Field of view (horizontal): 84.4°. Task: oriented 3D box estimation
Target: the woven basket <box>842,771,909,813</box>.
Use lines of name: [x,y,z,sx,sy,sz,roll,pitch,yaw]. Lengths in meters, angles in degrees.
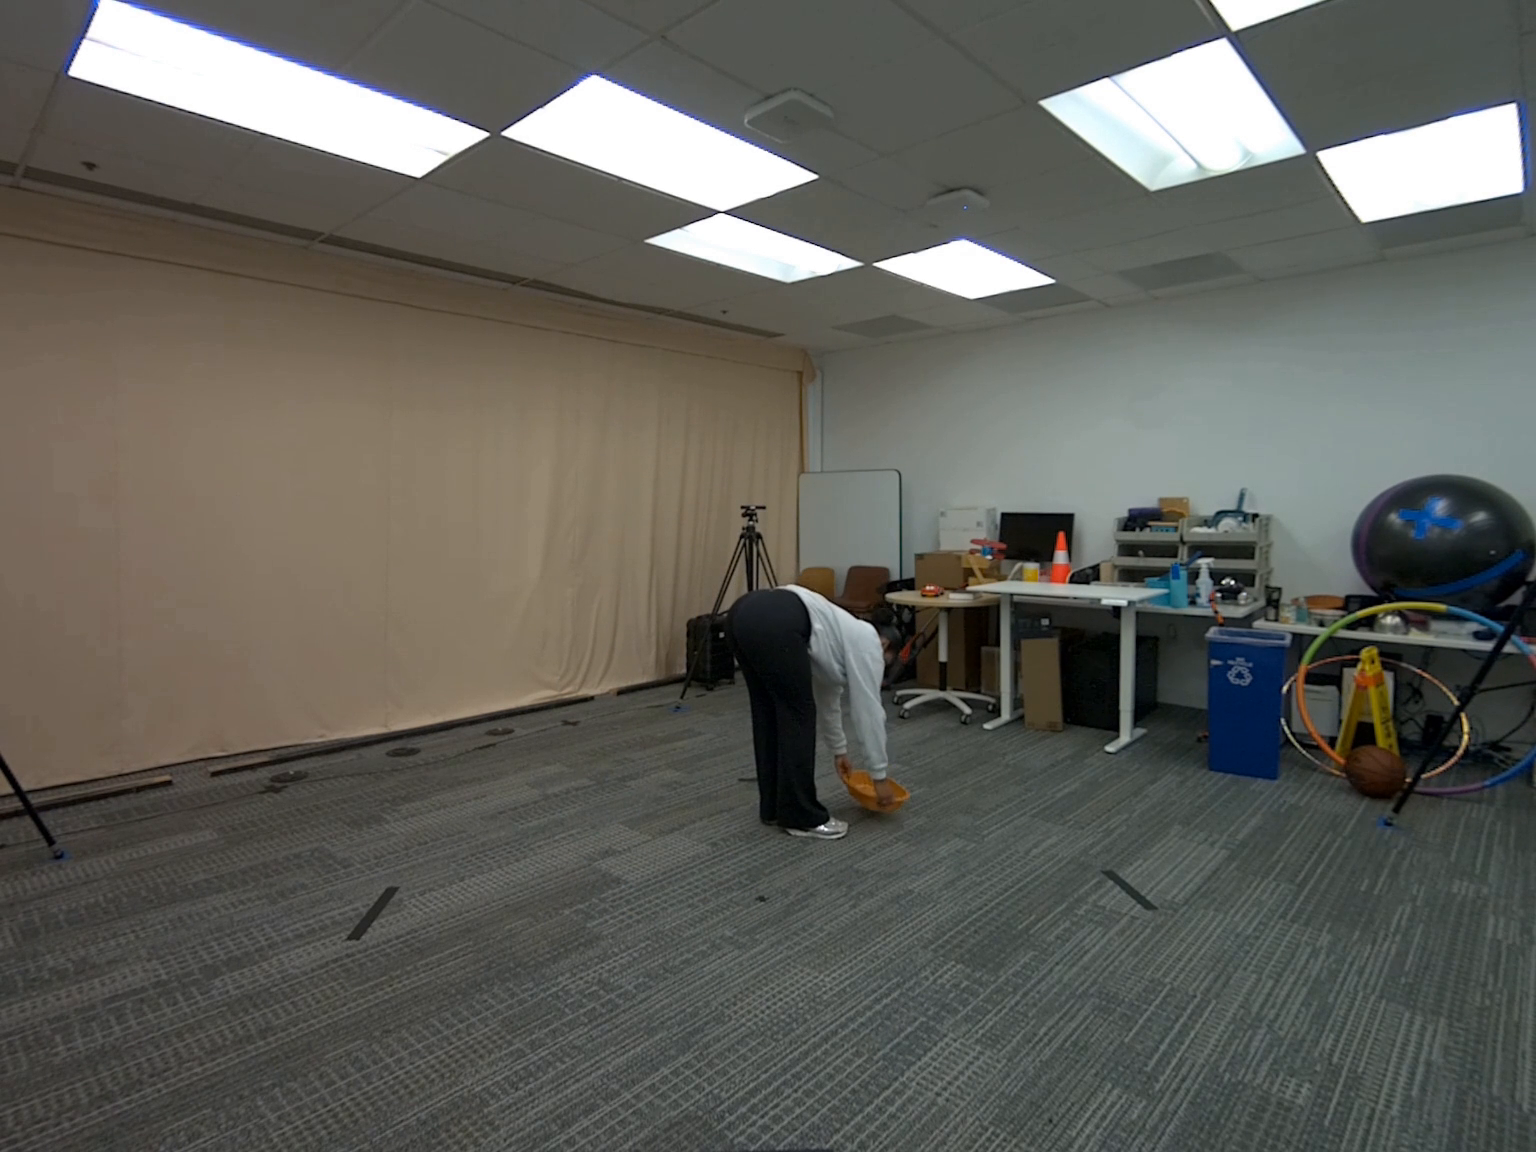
woven basket: [0.481,0.969,3.786,0.247,0.073,0.359,3,7,-22]
